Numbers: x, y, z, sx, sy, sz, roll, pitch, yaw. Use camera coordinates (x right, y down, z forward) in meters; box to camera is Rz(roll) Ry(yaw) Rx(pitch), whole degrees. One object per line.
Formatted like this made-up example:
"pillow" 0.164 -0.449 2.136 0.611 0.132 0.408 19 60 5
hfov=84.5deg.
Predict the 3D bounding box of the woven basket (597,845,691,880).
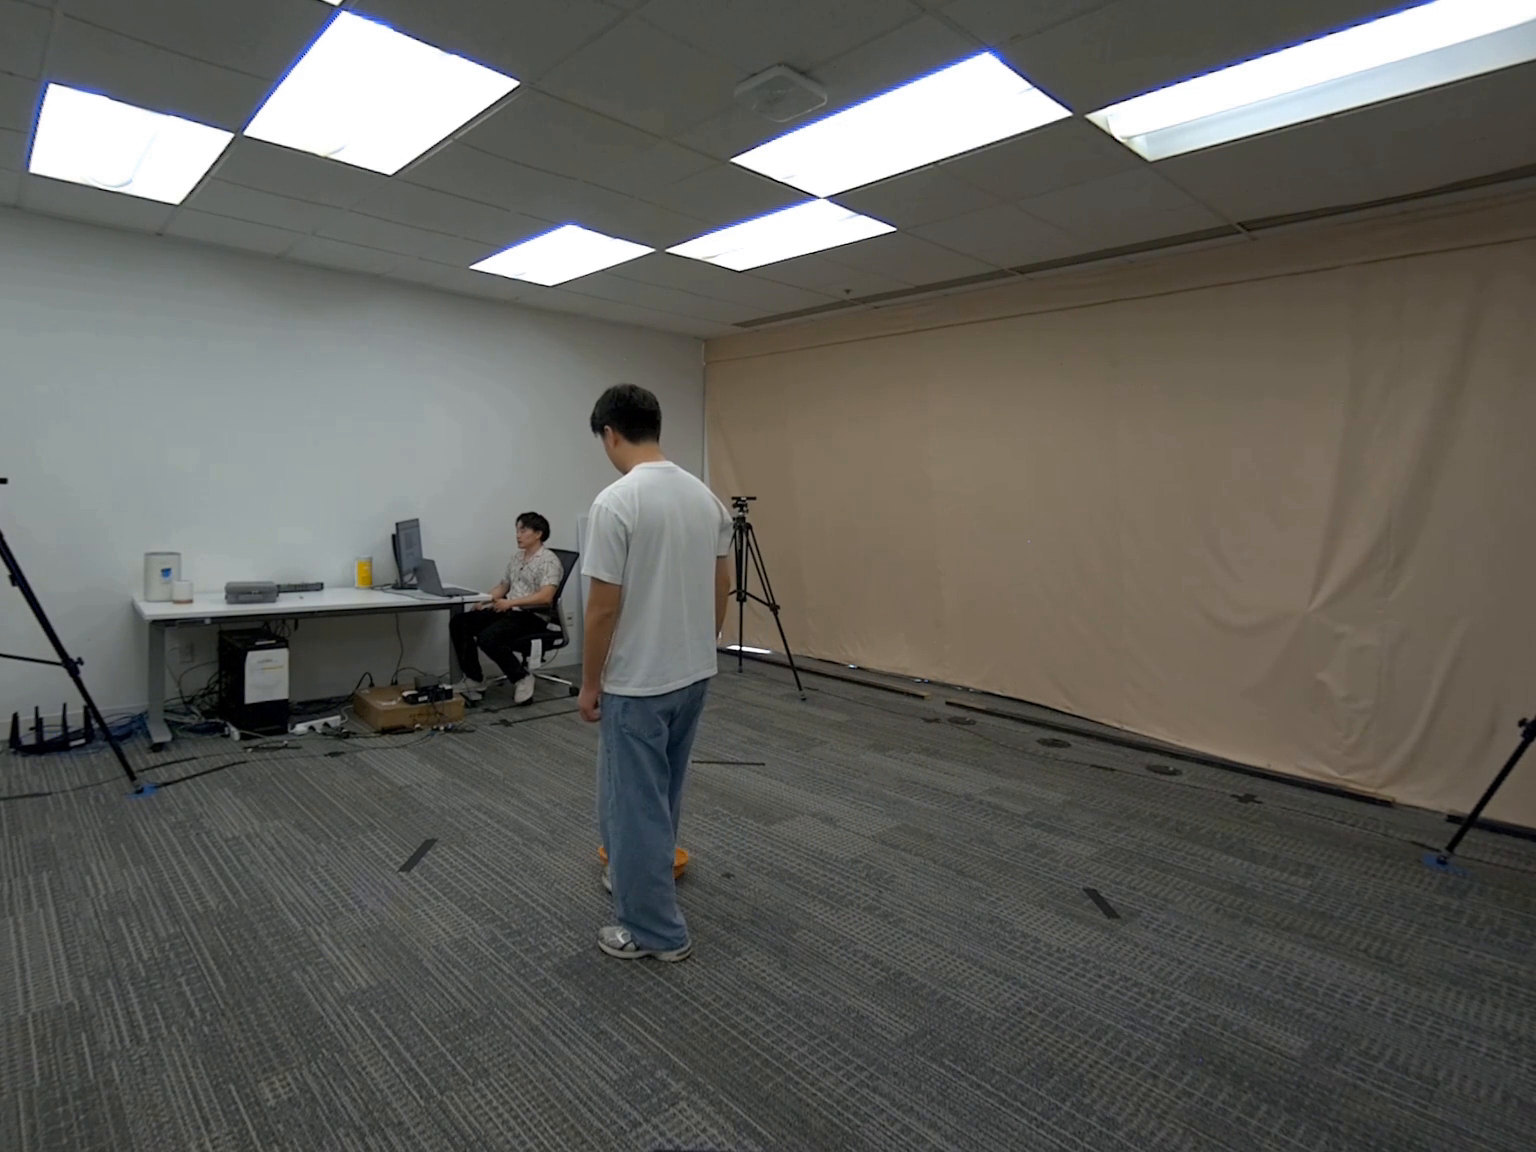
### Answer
"woven basket" -0.457 1.058 3.101 0.356 0.073 0.248 3 1 18
